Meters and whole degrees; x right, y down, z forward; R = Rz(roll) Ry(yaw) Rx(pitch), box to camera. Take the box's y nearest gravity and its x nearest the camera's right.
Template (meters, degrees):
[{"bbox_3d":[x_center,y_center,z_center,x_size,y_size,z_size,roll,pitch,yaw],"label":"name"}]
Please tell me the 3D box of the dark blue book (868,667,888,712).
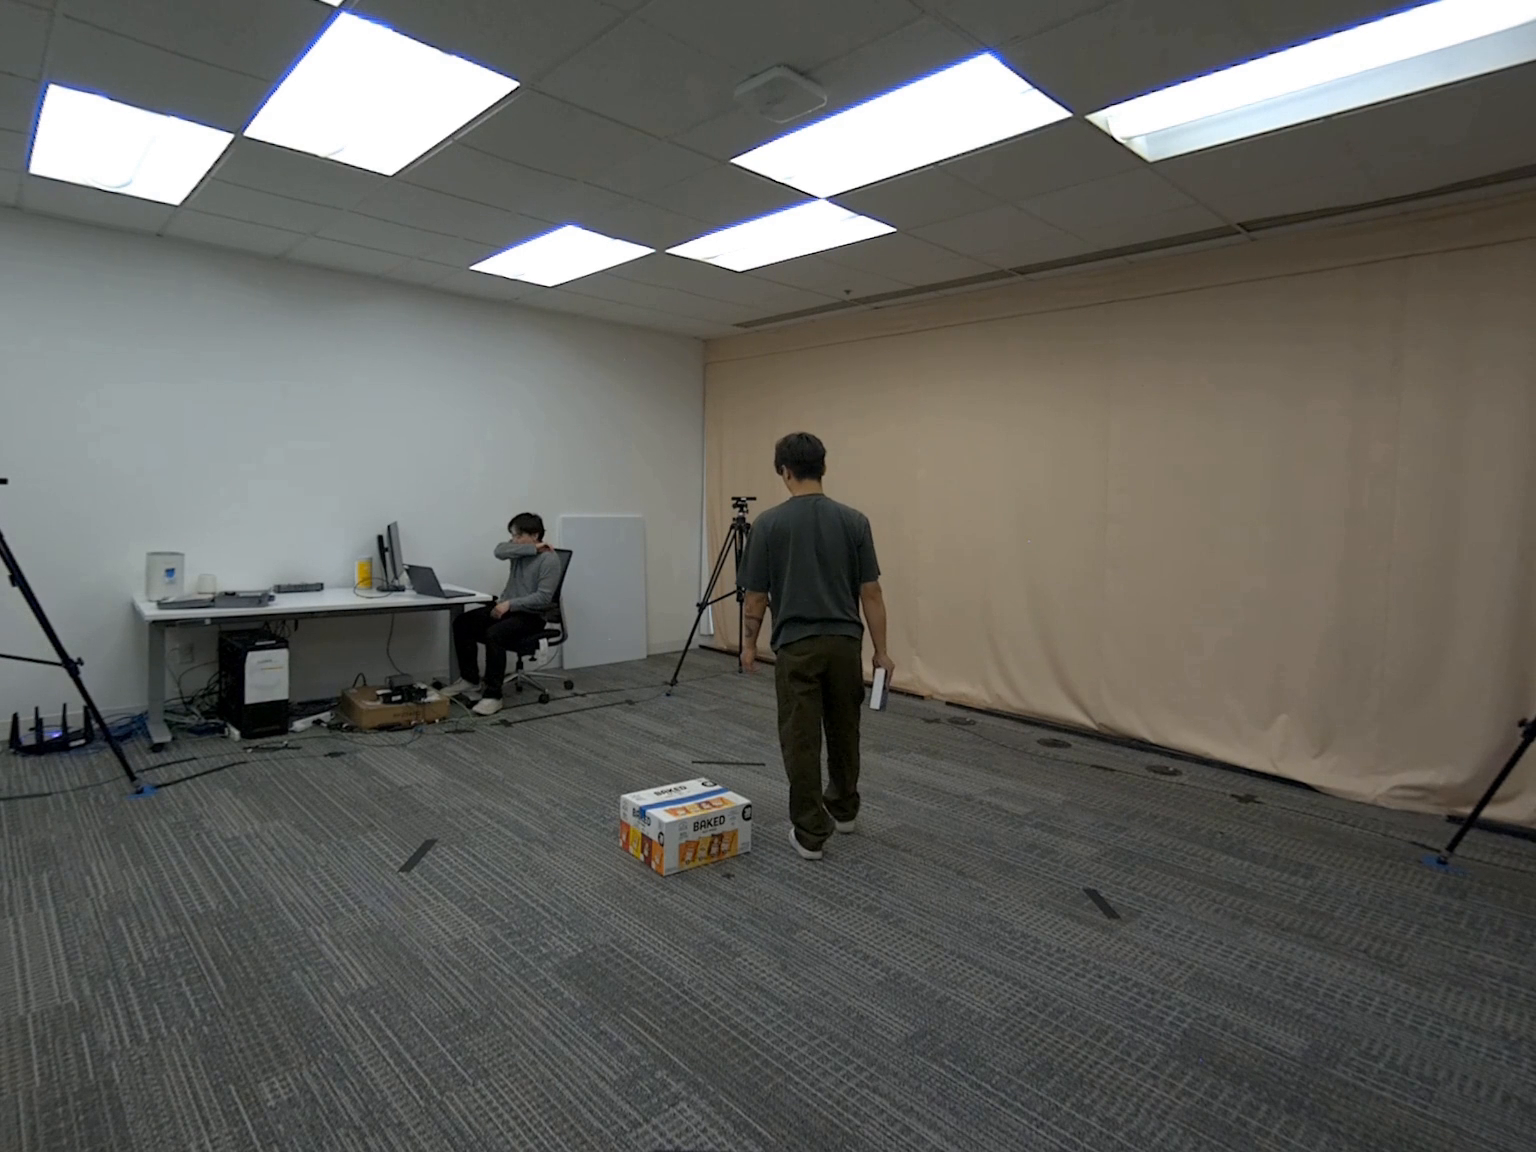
[{"bbox_3d":[0.449,0.457,3.412,0.046,0.164,0.240,7,-7,14],"label":"dark blue book"}]
